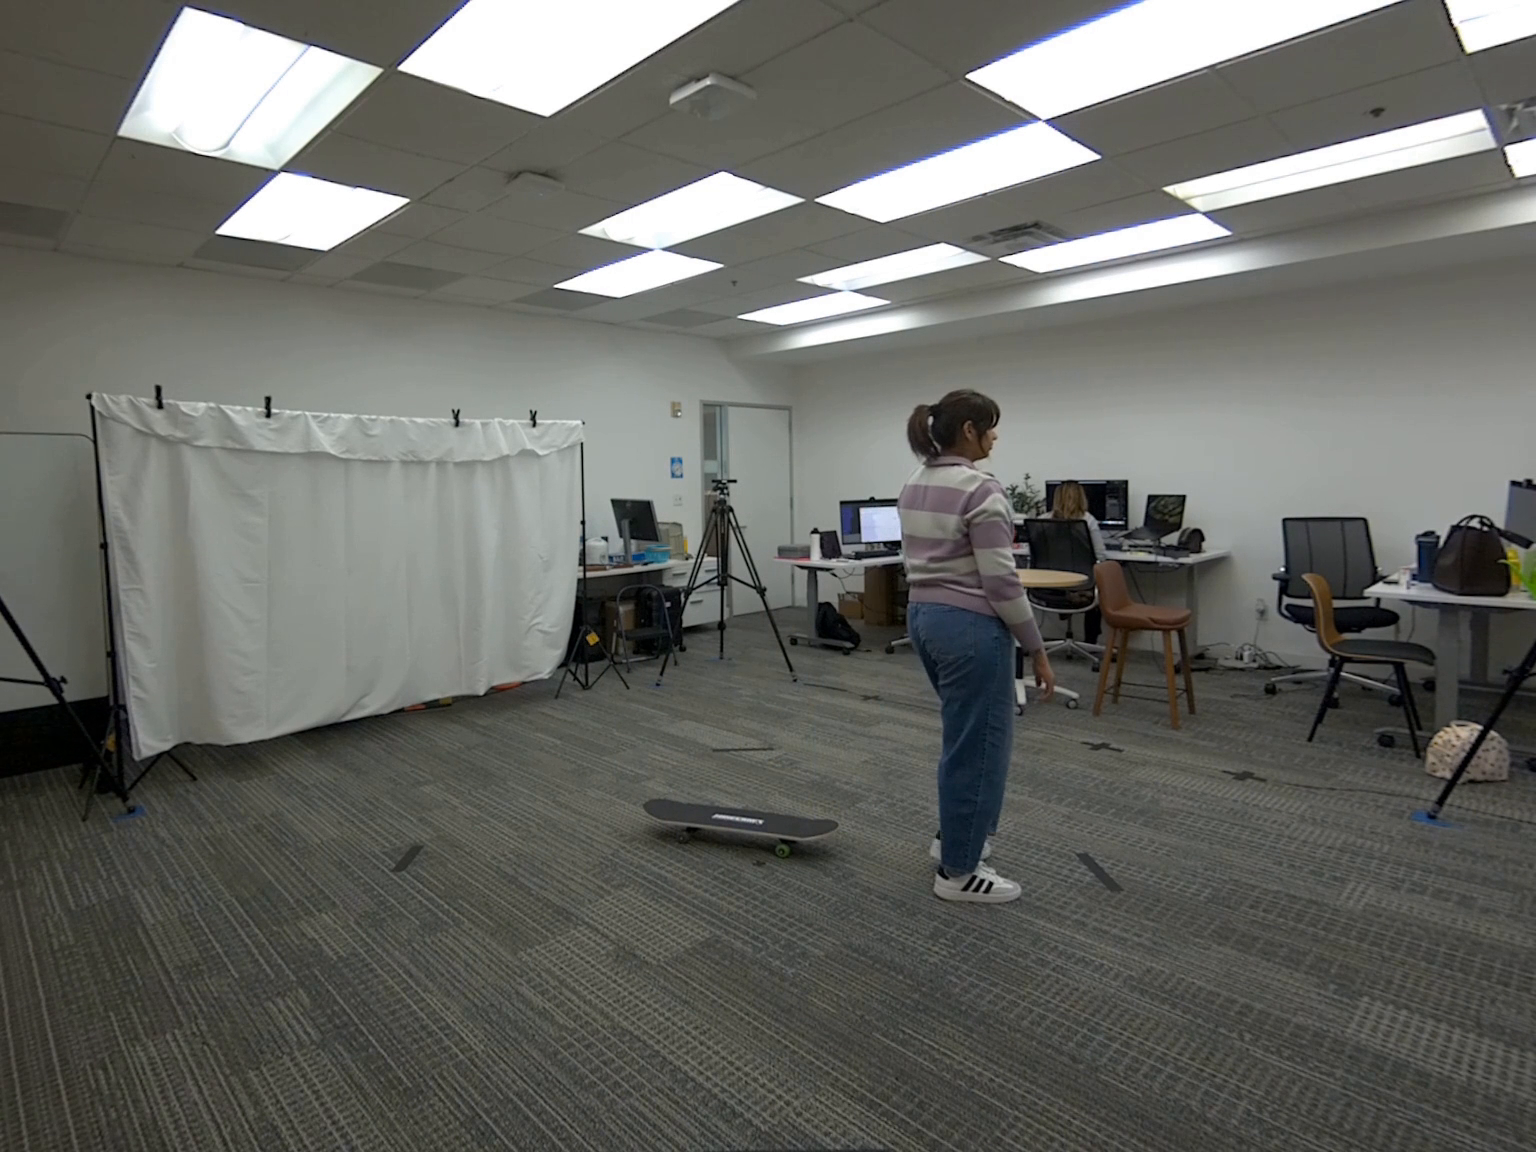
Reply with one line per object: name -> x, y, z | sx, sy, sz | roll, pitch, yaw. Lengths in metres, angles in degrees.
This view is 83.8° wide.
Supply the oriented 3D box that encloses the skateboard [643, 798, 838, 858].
skateboard -> -0.113, 0.972, 3.298 | 0.800, 0.110, 0.191 | 2, 6, 19
